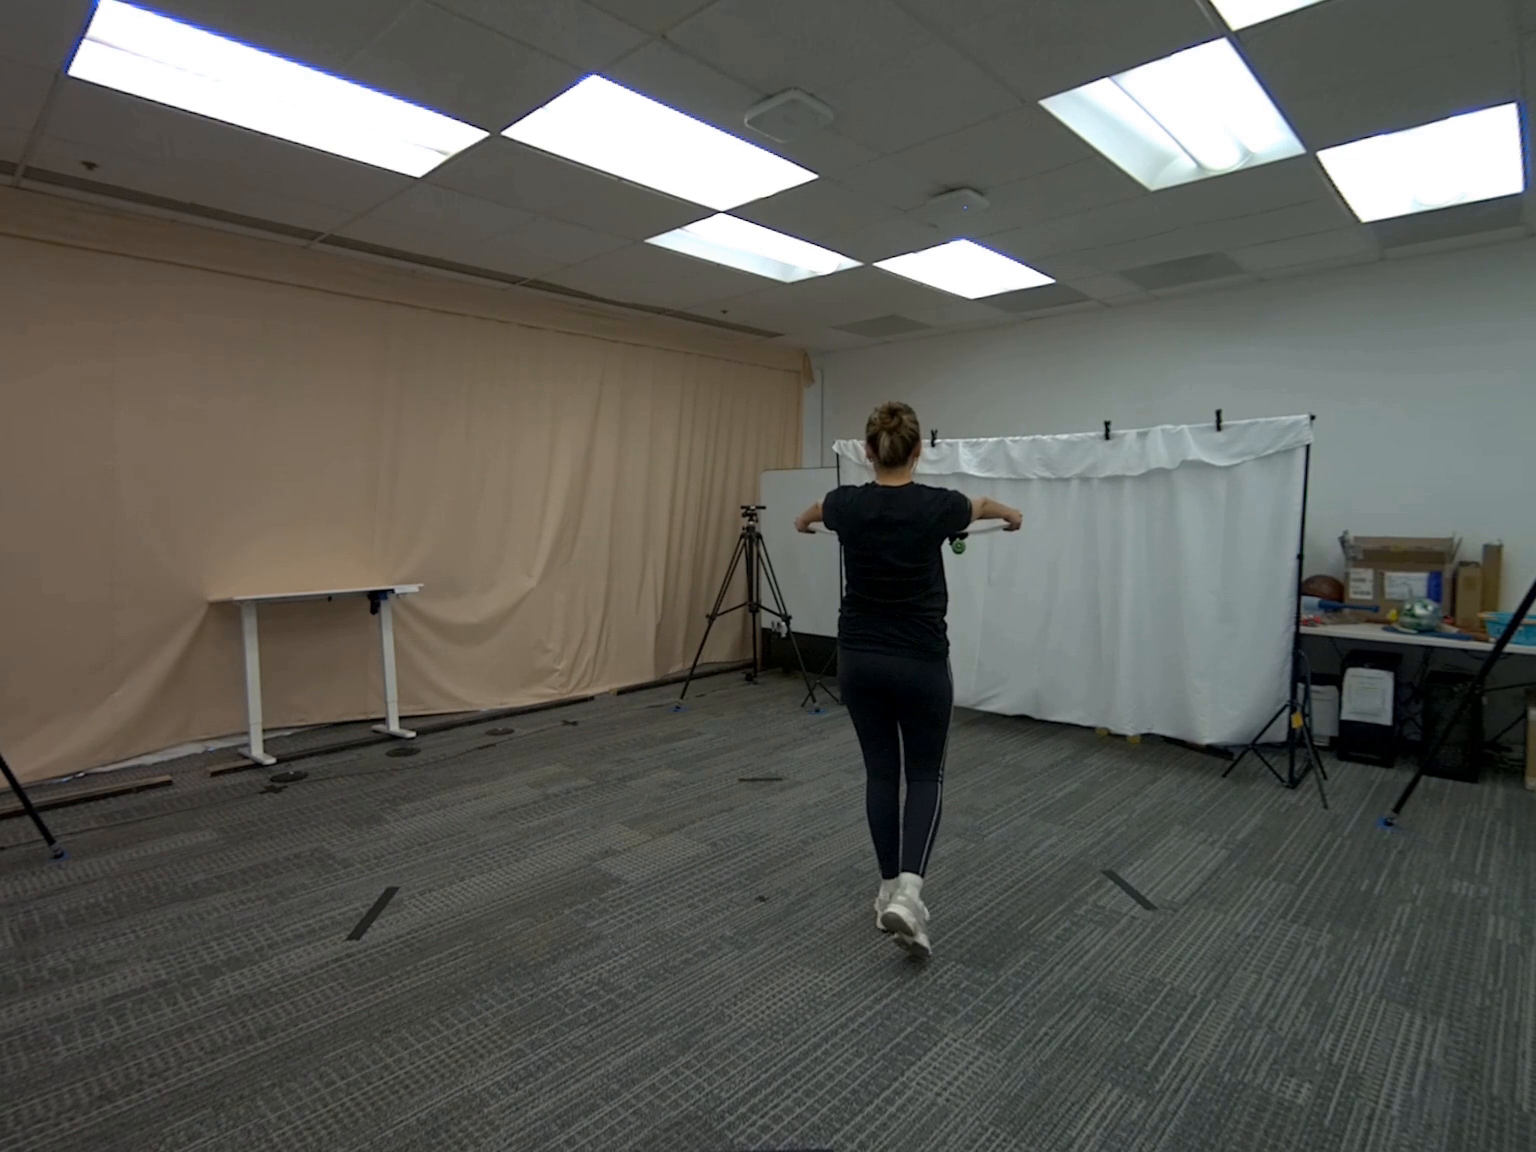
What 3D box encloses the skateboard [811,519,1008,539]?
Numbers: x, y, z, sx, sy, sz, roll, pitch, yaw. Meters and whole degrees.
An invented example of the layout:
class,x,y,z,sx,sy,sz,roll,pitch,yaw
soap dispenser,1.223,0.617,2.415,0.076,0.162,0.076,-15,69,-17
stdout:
class,x,y,z,sx,sy,sz,roll,pitch,yaw
skateboard,0.533,-0.147,3.256,0.796,0.111,0.190,-1,-5,13
